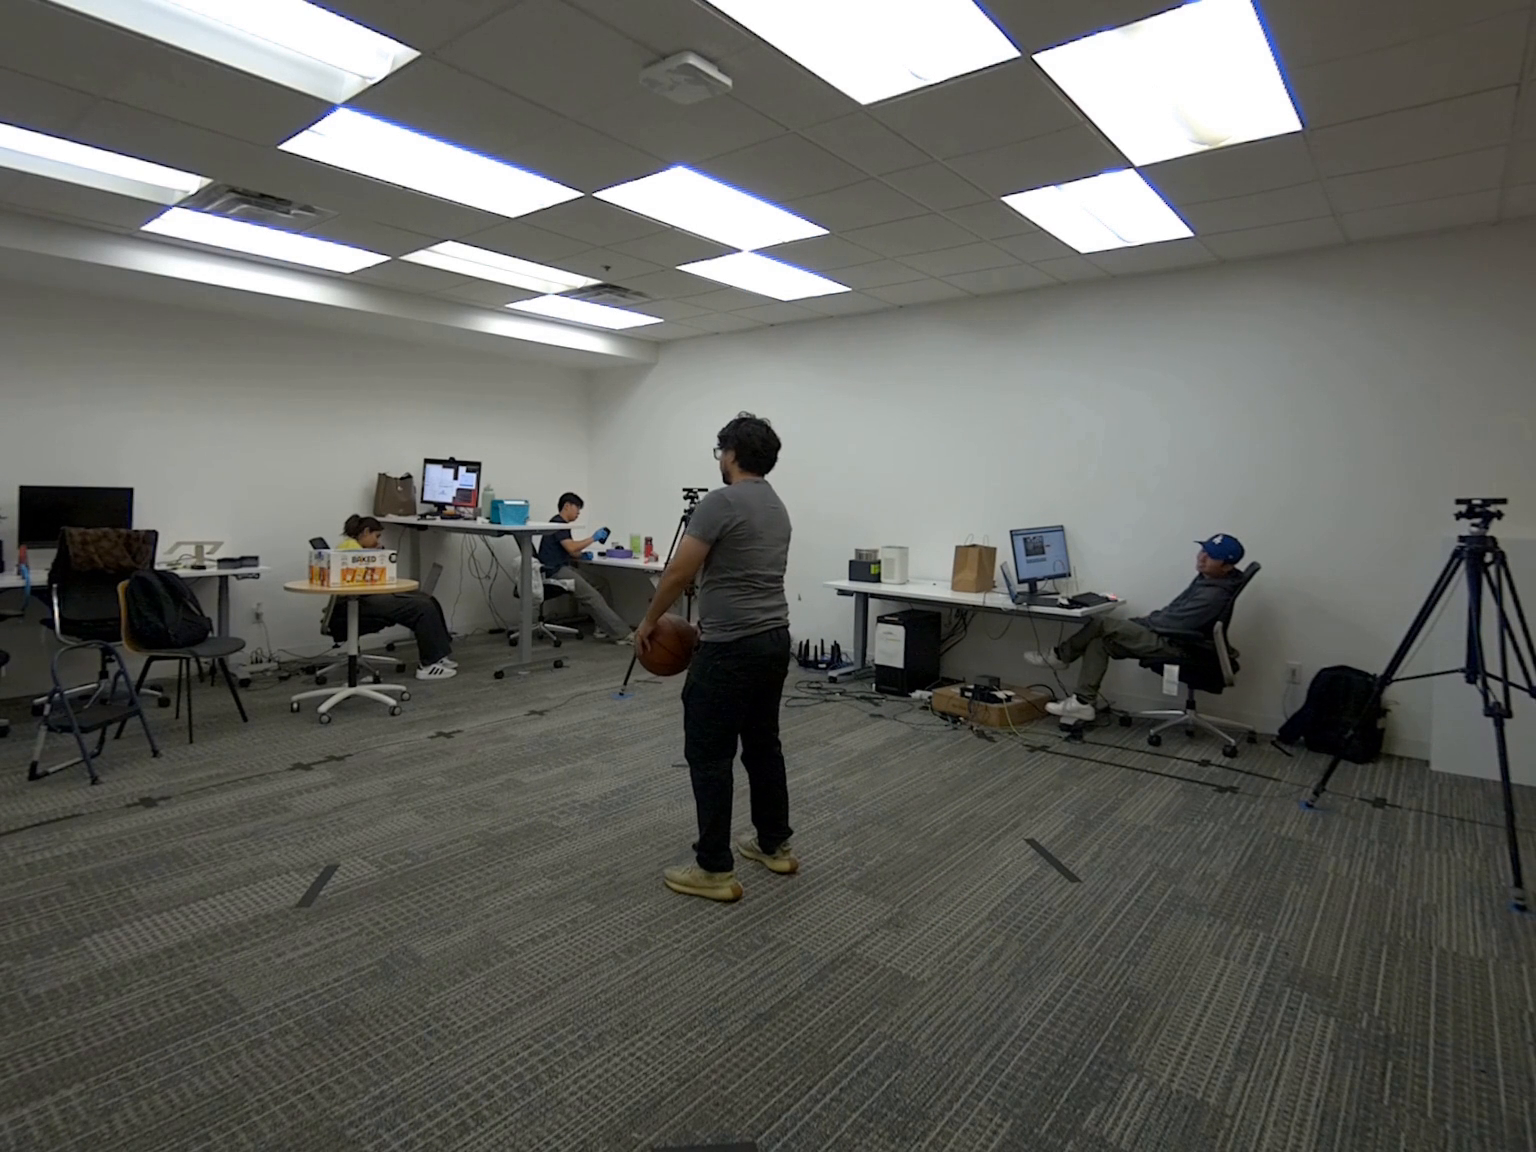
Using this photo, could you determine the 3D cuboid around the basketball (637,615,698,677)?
[{"bbox_3d":[-0.394,0.253,3.227,0.235,0.235,0.237,1,4,-2],"label":"basketball"}]
